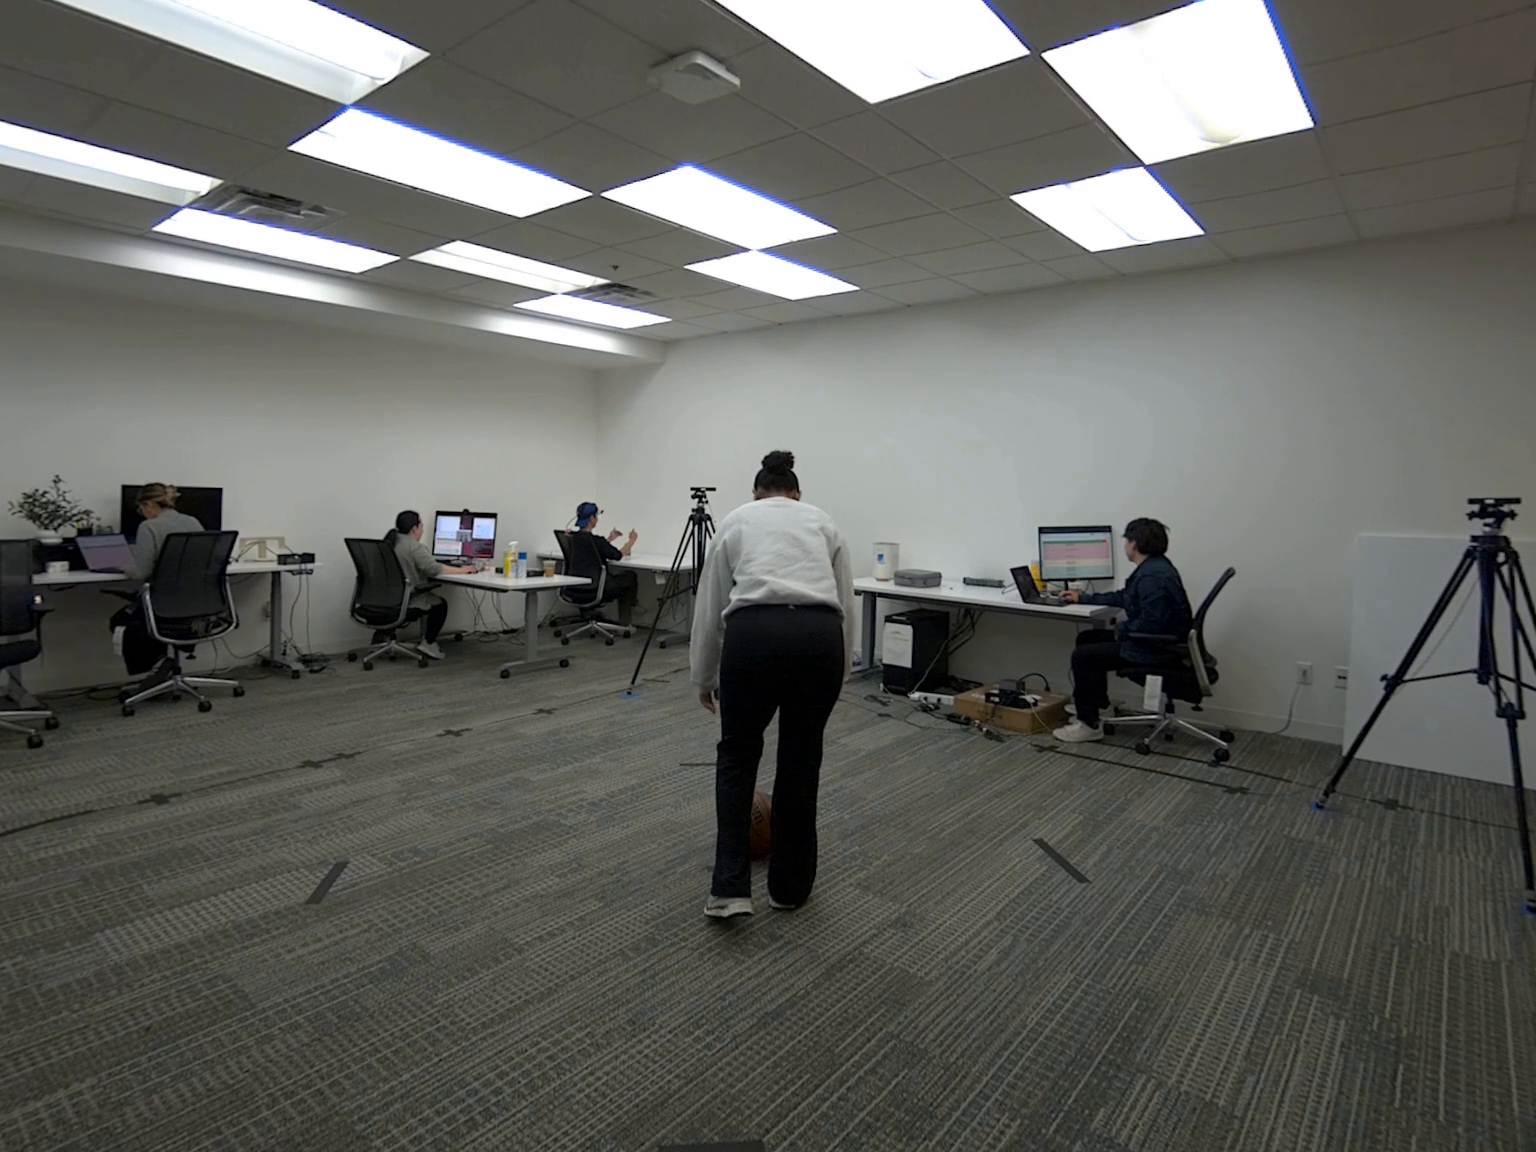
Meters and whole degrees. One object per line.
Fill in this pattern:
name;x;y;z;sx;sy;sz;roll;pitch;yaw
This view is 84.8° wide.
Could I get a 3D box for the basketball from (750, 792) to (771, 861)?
basketball;-0.053;0.930;3.224;0.235;0.235;0.237;1;4;-2
